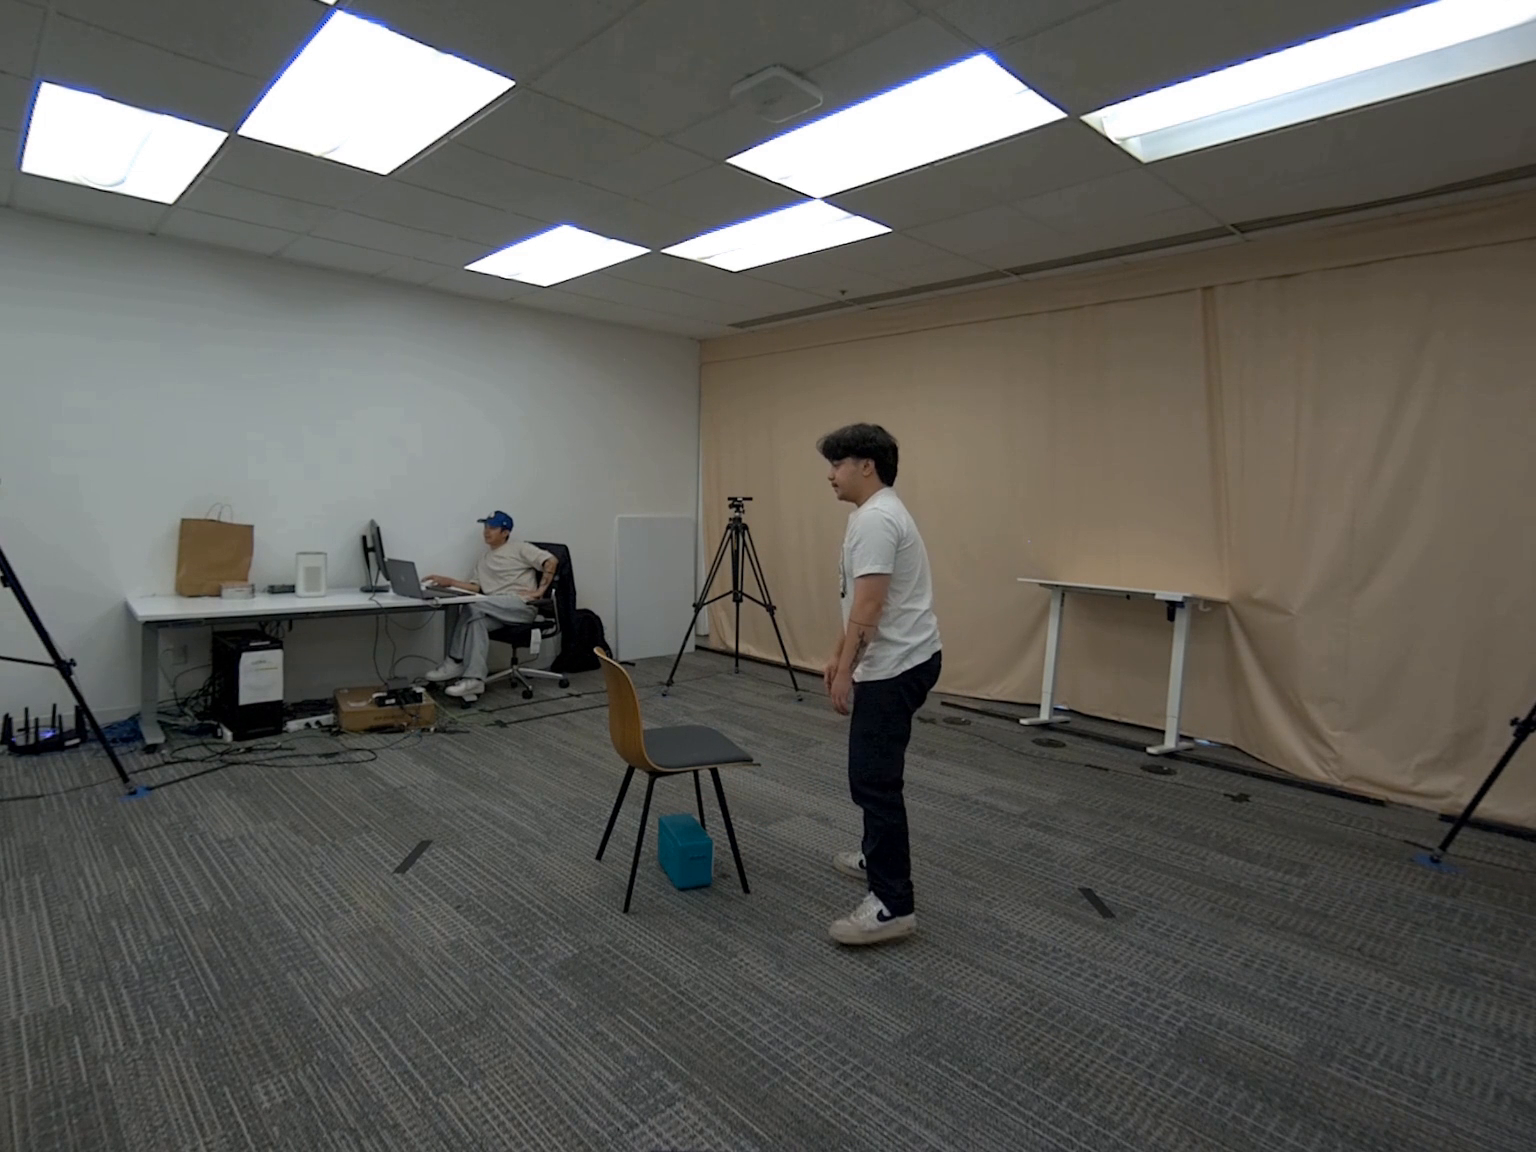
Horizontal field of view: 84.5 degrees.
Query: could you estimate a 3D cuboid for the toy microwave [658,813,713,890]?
[{"bbox_3d":[-0.305,1.008,3.113,0.150,0.183,0.292,0,5,-23],"label":"toy microwave"}]
